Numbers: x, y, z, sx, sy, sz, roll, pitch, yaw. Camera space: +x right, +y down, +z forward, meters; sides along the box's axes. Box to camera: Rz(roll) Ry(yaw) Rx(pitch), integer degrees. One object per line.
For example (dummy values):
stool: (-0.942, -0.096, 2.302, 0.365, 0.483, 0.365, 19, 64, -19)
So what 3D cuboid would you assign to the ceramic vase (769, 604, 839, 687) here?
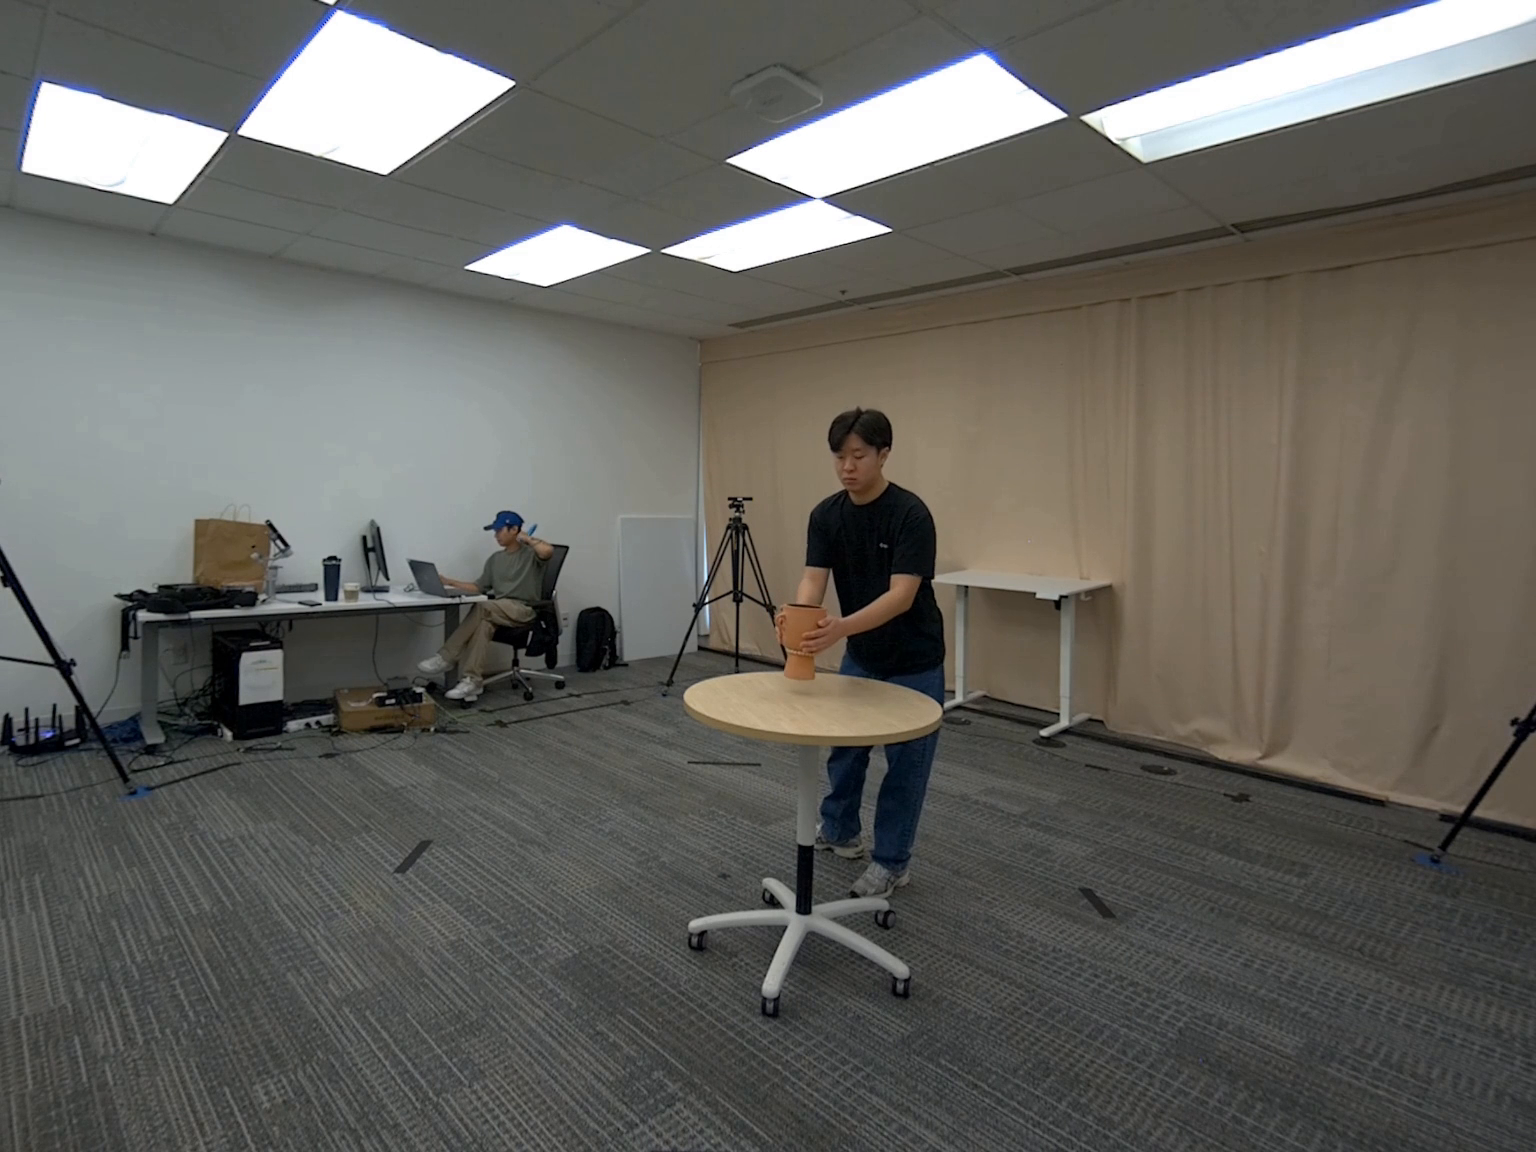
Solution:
ceramic vase: (0.108, 0.207, 2.581, 0.162, 0.219, 0.132, 5, 1, 22)
